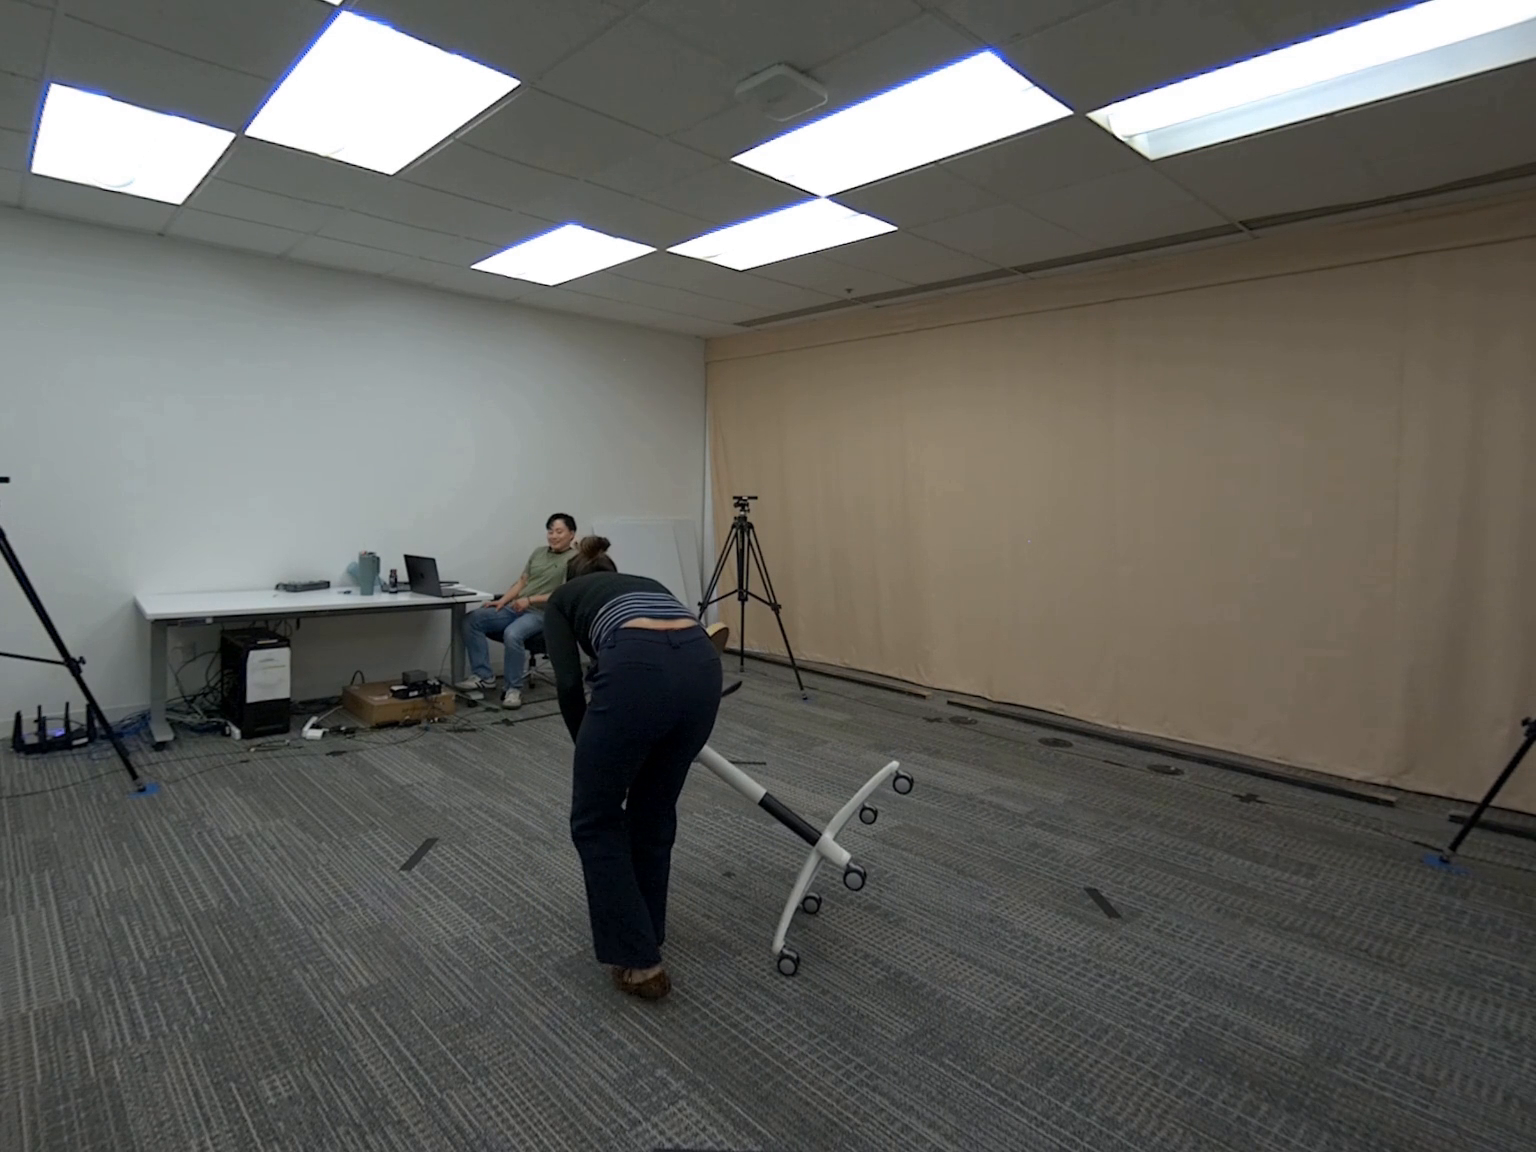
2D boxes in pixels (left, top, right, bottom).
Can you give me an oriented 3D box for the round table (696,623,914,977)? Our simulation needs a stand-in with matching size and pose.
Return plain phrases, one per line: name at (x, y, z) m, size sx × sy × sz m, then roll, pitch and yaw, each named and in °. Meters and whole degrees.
round table at (-0.049, 0.692, 2.709) m, size 0.804 × 0.762 × 0.756 m, roll 35°, pitch 12°, yaw 10°
